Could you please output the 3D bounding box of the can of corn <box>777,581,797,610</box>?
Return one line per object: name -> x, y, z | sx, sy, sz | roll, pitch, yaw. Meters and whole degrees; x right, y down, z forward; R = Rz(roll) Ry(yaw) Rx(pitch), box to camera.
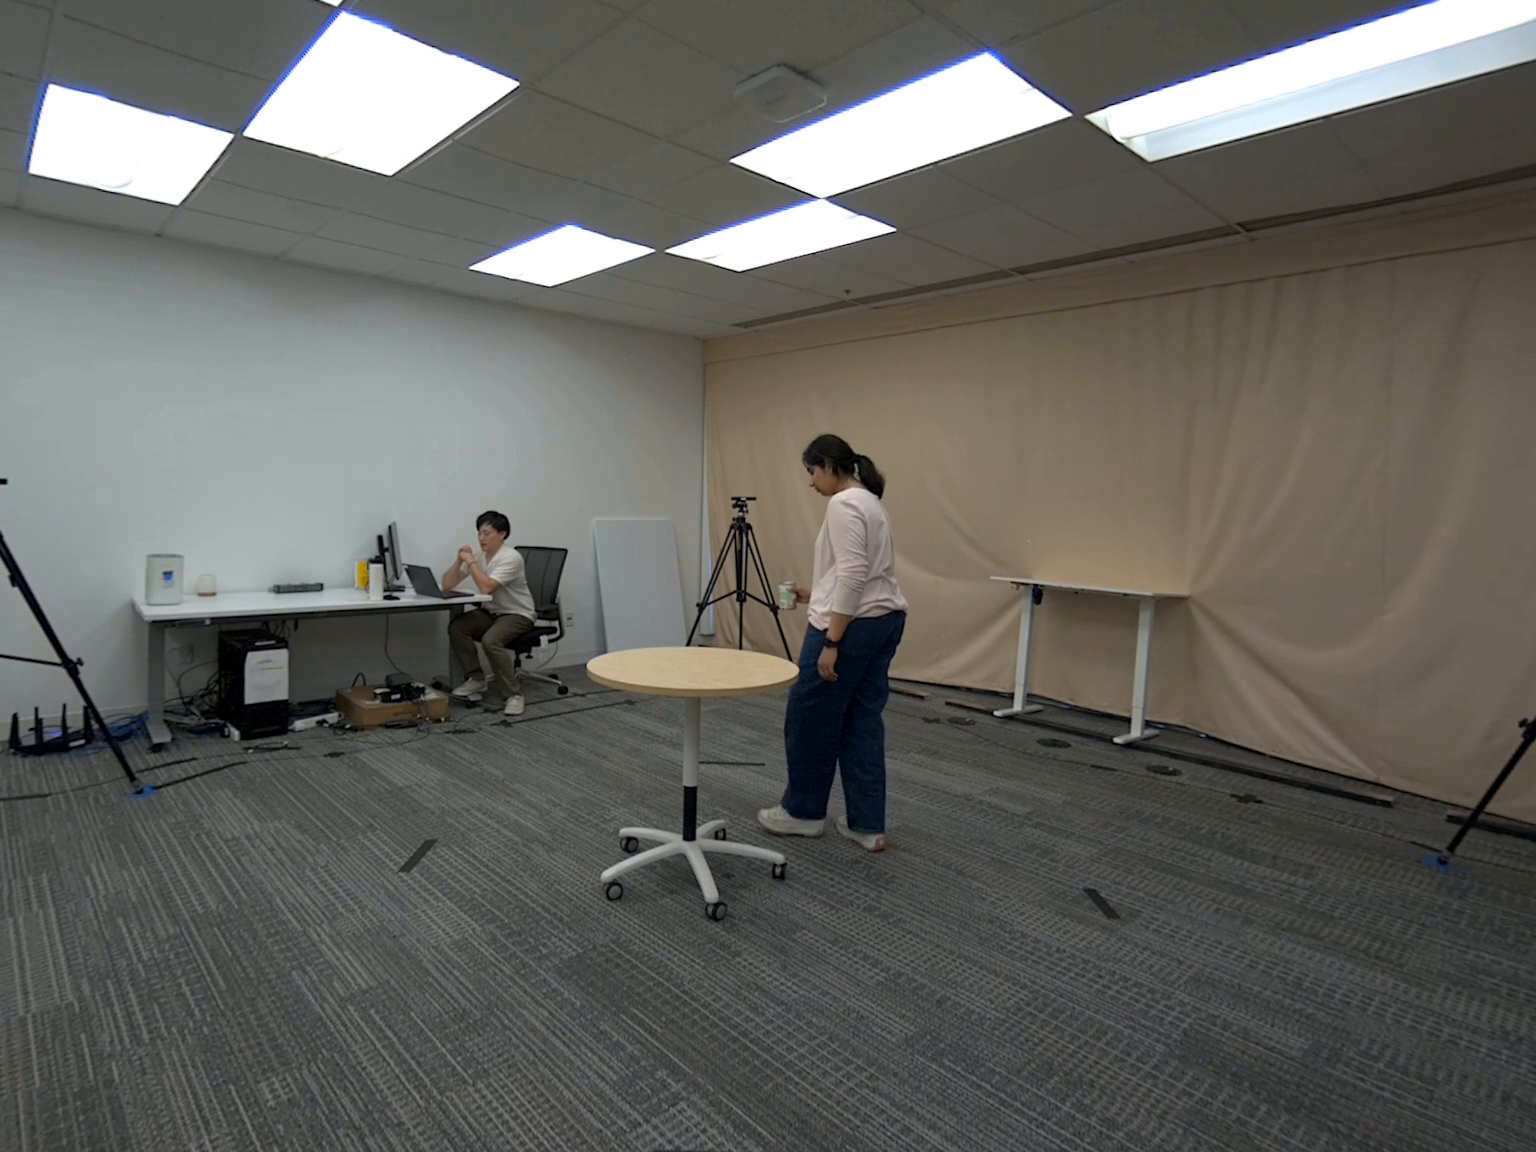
can of corn -> 0.072, 0.088, 3.632 | 0.074, 0.111, 0.074 | 5, 1, -1
